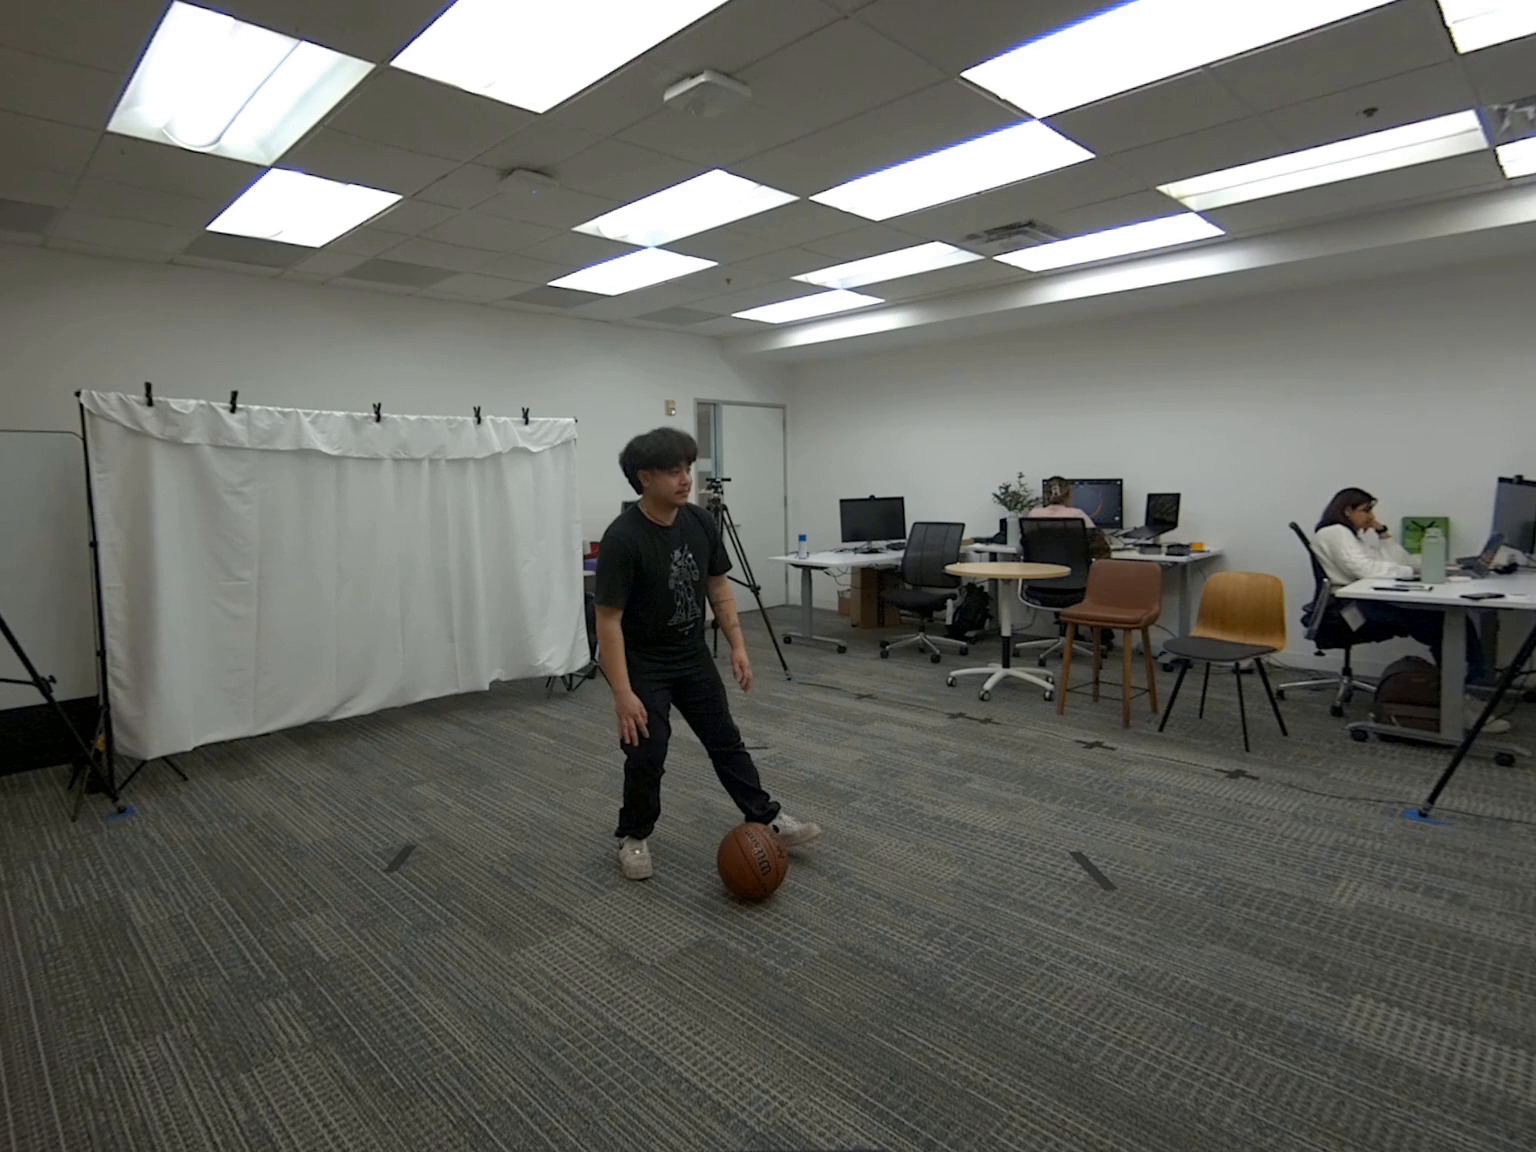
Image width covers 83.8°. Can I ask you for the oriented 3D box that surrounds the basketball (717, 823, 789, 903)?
[{"bbox_3d":[-0.050,0.951,2.859,0.236,0.235,0.237,-1,5,-2],"label":"basketball"}]
